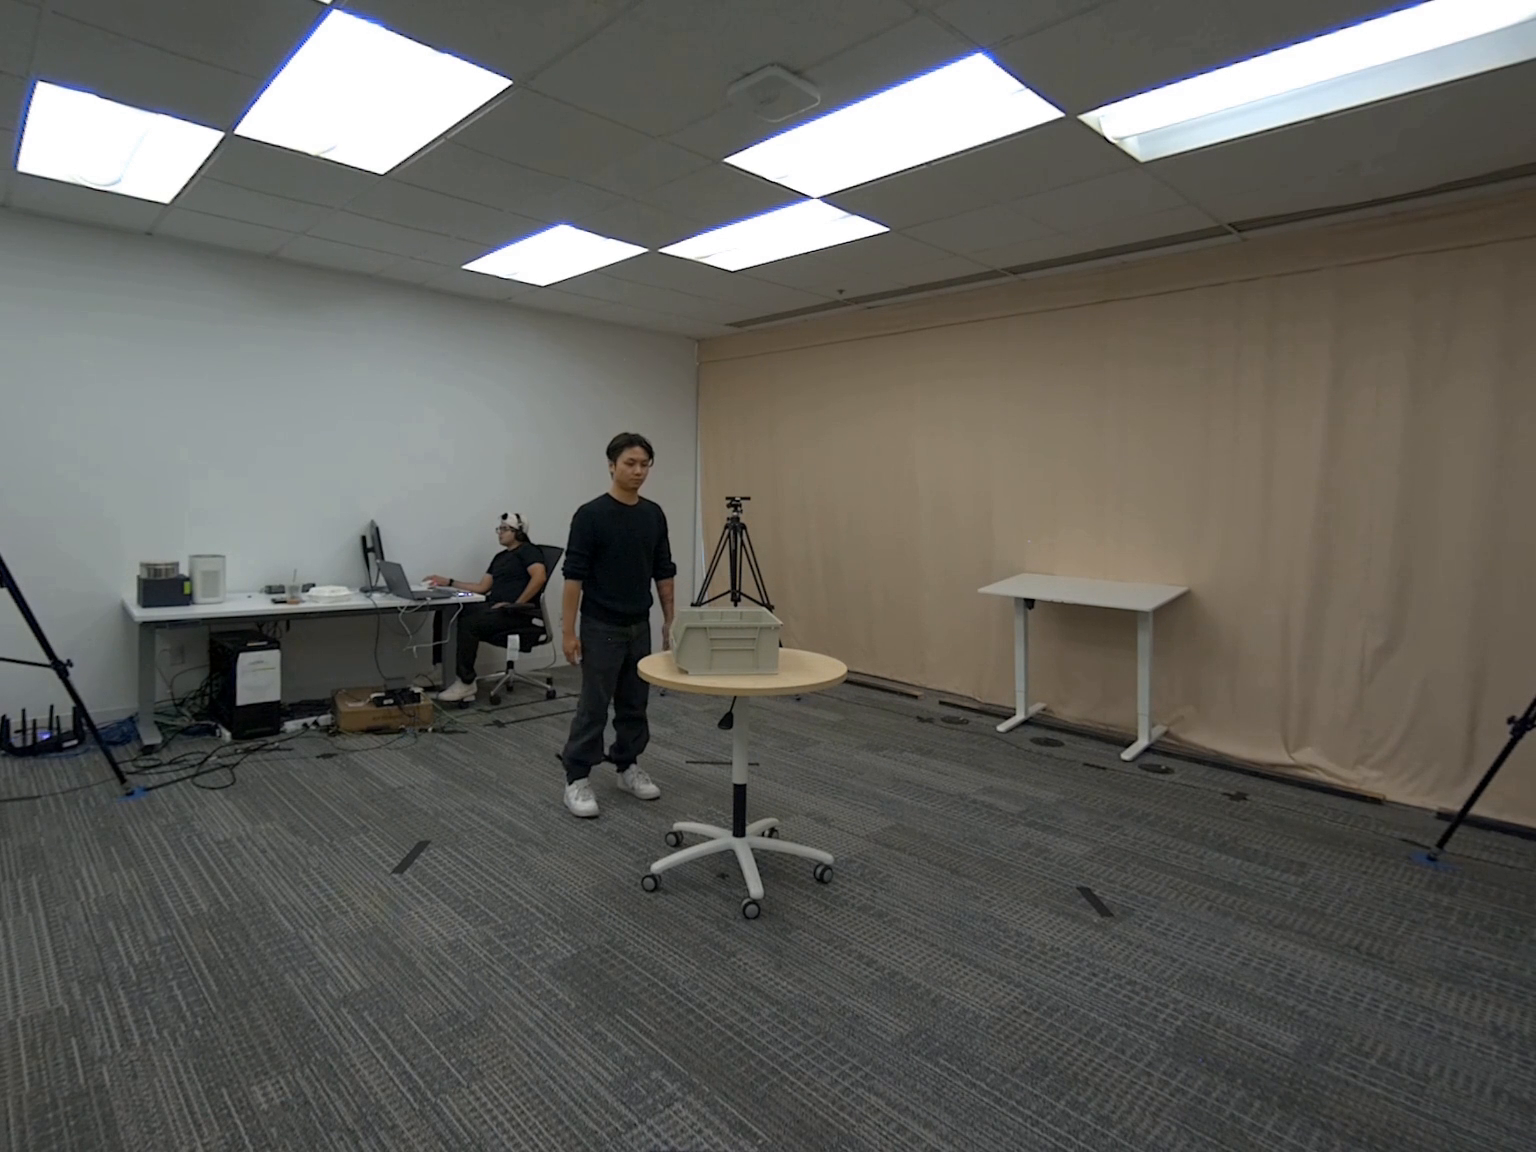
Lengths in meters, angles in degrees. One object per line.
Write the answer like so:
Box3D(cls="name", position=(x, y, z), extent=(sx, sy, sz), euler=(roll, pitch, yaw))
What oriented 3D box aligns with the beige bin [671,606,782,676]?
Box3D(cls="beige bin", position=(-0.176, 0.234, 3.105), extent=(0.375, 0.188, 0.426), euler=(0, 5, -8))
